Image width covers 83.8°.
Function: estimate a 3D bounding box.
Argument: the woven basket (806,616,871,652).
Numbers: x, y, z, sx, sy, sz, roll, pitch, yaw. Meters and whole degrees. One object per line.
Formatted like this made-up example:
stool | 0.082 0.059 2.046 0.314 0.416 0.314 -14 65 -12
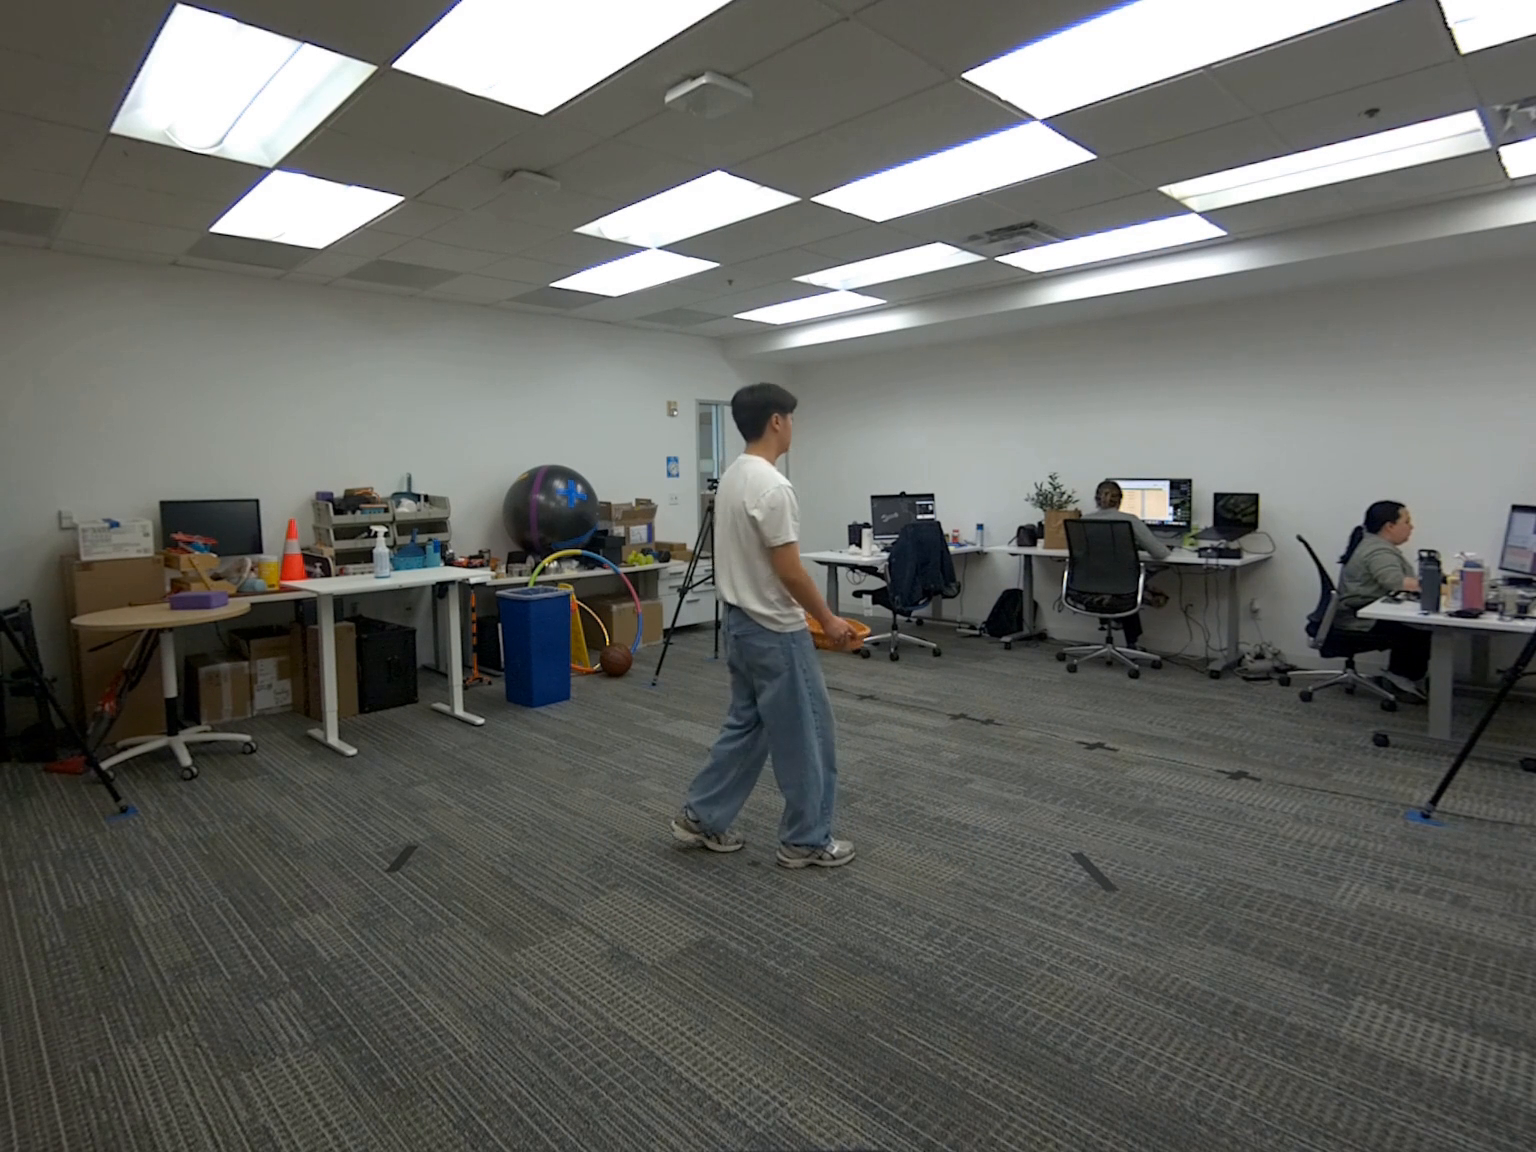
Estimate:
woven basket | 0.237 0.215 3.220 0.248 0.073 0.359 -1 10 -19
